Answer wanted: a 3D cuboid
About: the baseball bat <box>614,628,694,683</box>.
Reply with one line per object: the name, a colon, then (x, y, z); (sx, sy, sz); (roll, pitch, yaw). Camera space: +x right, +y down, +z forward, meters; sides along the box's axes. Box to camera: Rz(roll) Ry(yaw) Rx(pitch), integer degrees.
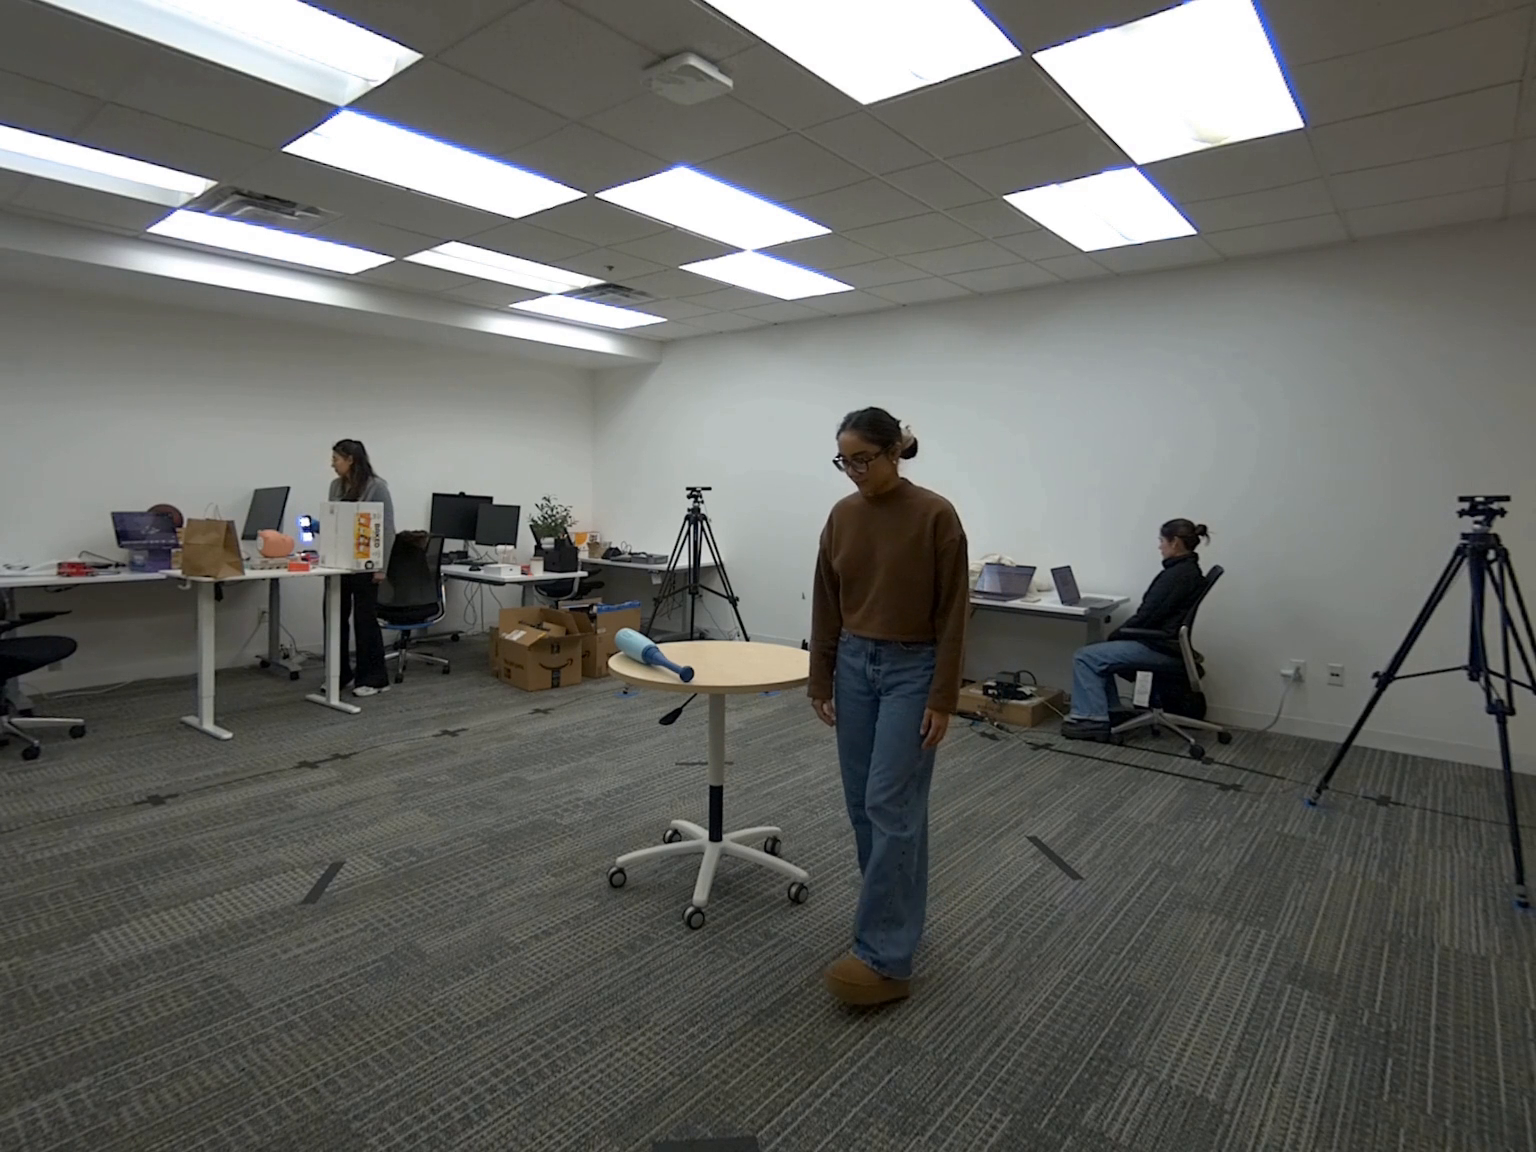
baseball bat: (-0.400, 0.272, 2.869); (0.087, 0.088, 0.560); (-2, 9, -29)
